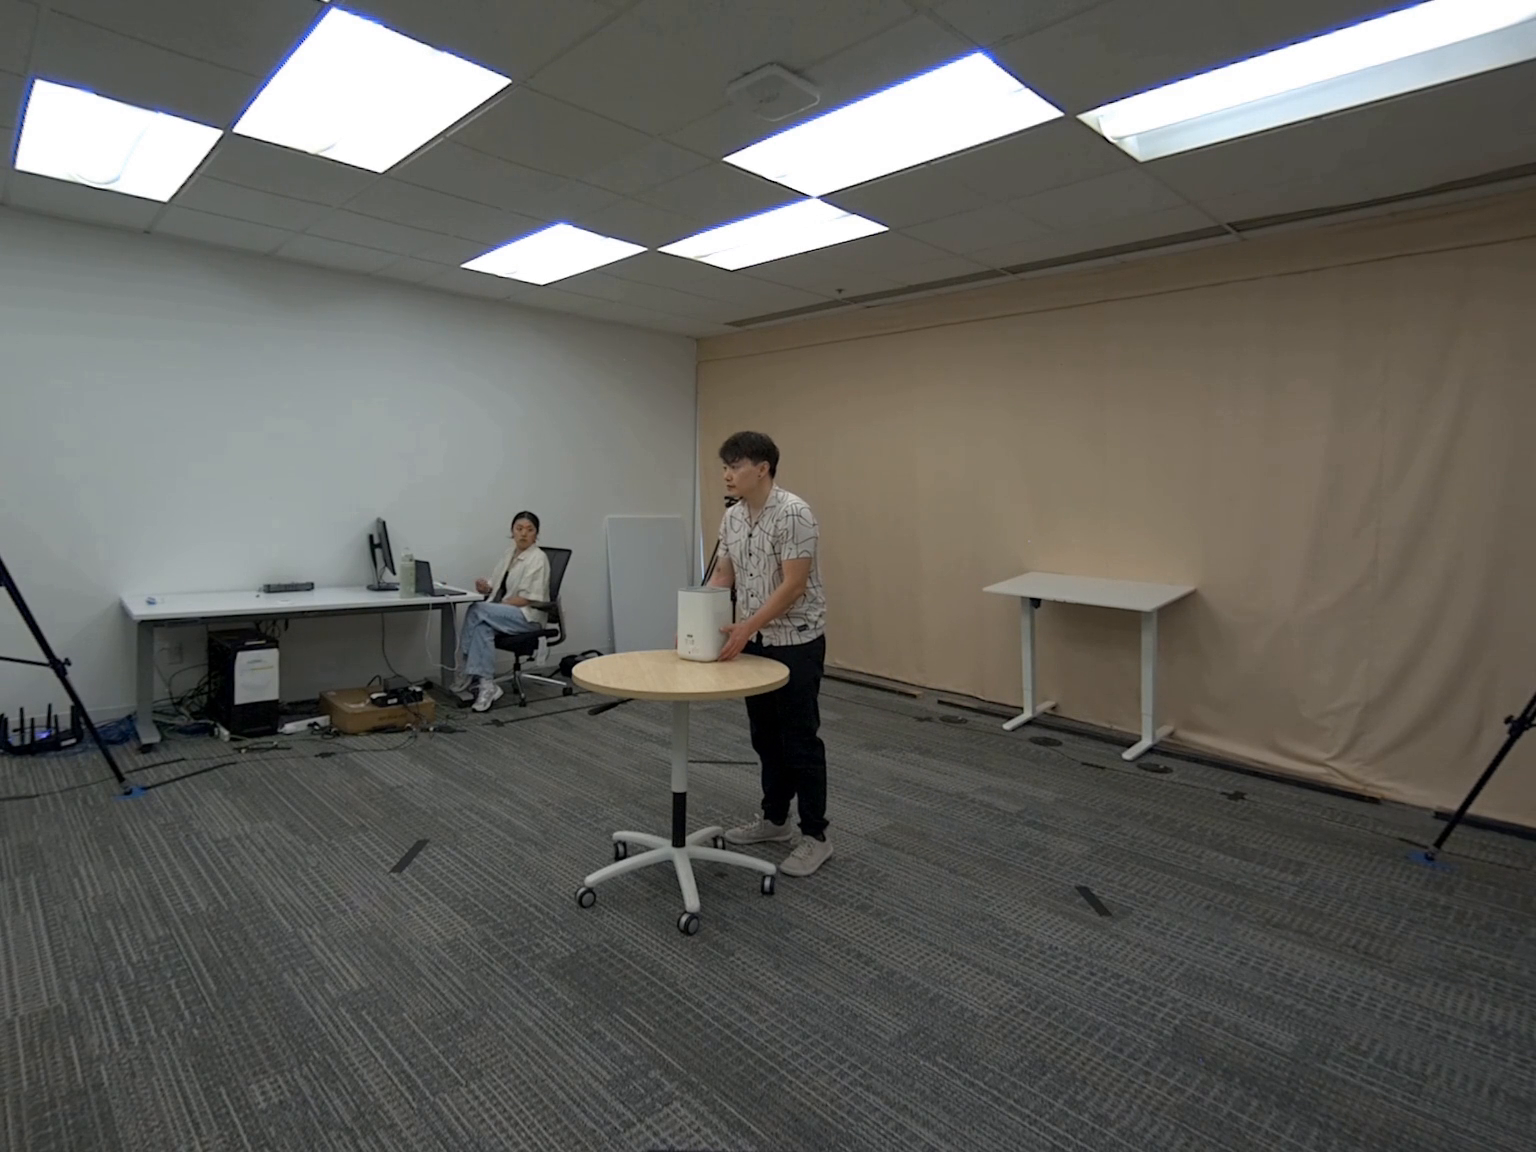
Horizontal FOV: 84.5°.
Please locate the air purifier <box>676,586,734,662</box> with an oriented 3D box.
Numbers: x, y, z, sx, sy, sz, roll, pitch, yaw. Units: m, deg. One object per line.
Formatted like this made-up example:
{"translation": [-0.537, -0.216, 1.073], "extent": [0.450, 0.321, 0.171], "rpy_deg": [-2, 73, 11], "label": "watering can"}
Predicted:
{"translation": [-0.251, 0.183, 3.175], "extent": [0.175, 0.264, 0.168], "rpy_deg": [3, 5, 31], "label": "air purifier"}
